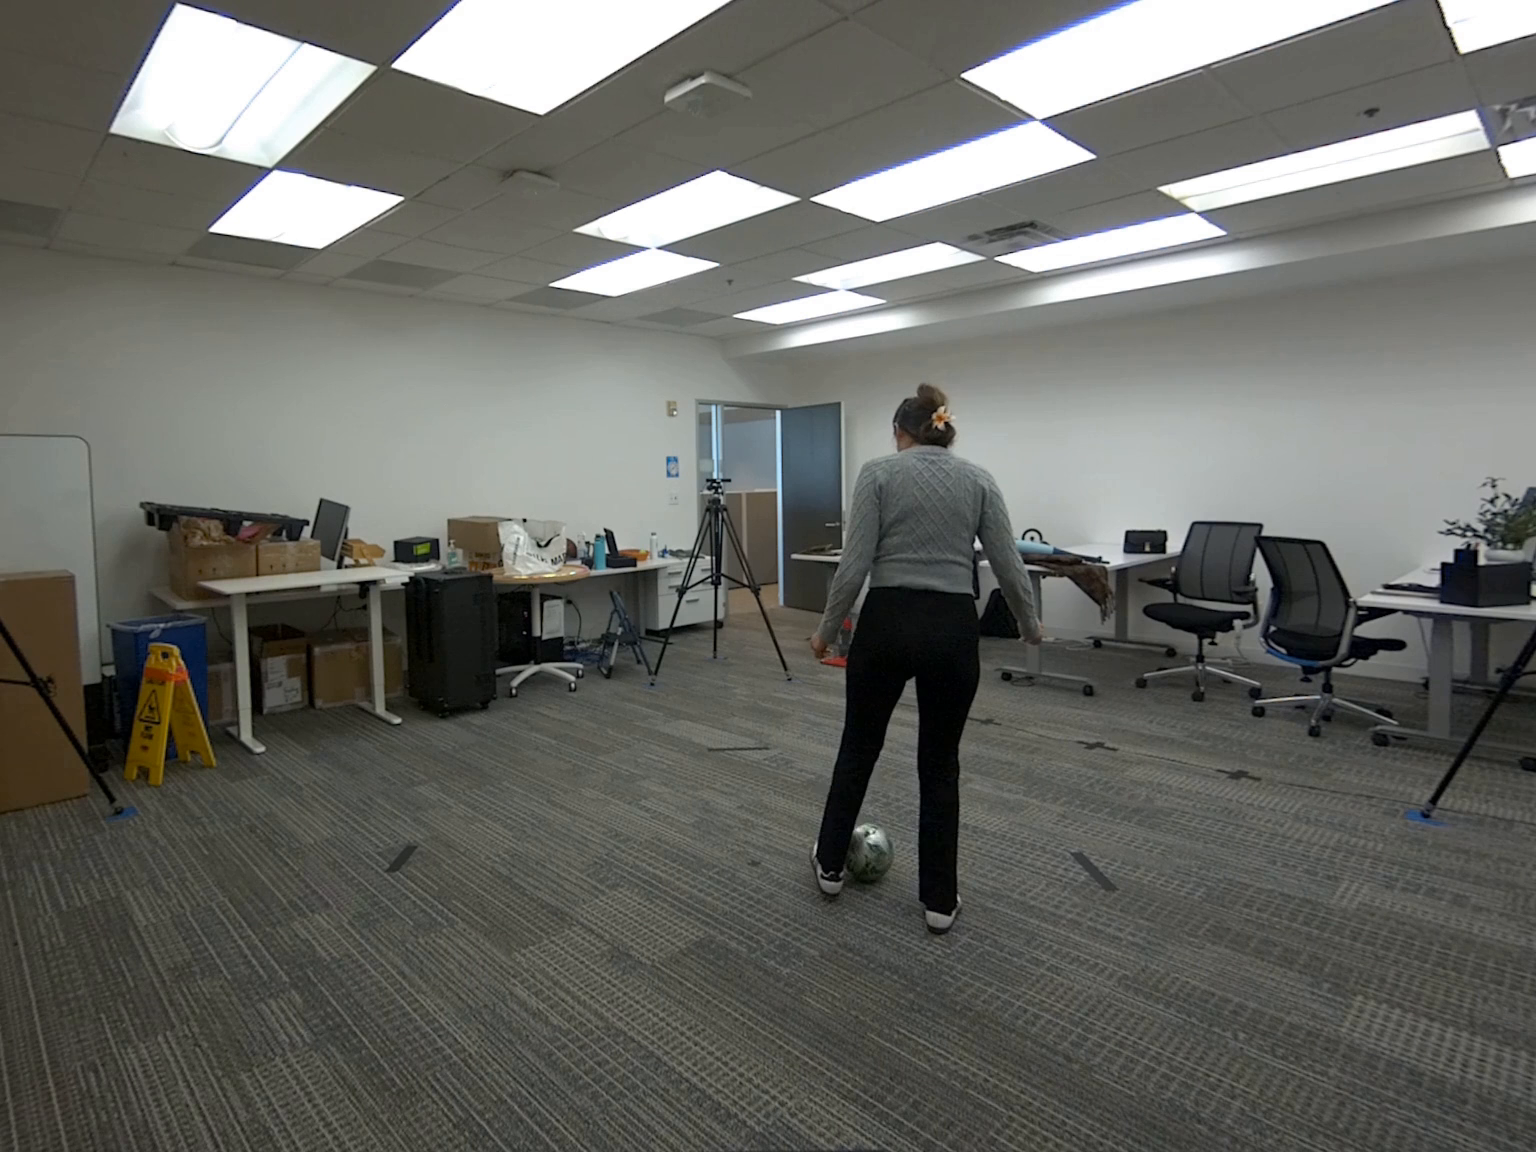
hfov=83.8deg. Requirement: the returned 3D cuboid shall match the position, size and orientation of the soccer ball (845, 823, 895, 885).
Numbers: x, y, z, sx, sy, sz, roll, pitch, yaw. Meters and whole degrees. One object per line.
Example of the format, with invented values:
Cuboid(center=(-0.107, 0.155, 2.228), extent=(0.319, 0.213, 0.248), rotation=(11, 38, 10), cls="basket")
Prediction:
Cuboid(center=(0.368, 0.958, 2.967), extent=(0.187, 0.187, 0.188), rotation=(-1, 5, -2), cls="soccer ball")
